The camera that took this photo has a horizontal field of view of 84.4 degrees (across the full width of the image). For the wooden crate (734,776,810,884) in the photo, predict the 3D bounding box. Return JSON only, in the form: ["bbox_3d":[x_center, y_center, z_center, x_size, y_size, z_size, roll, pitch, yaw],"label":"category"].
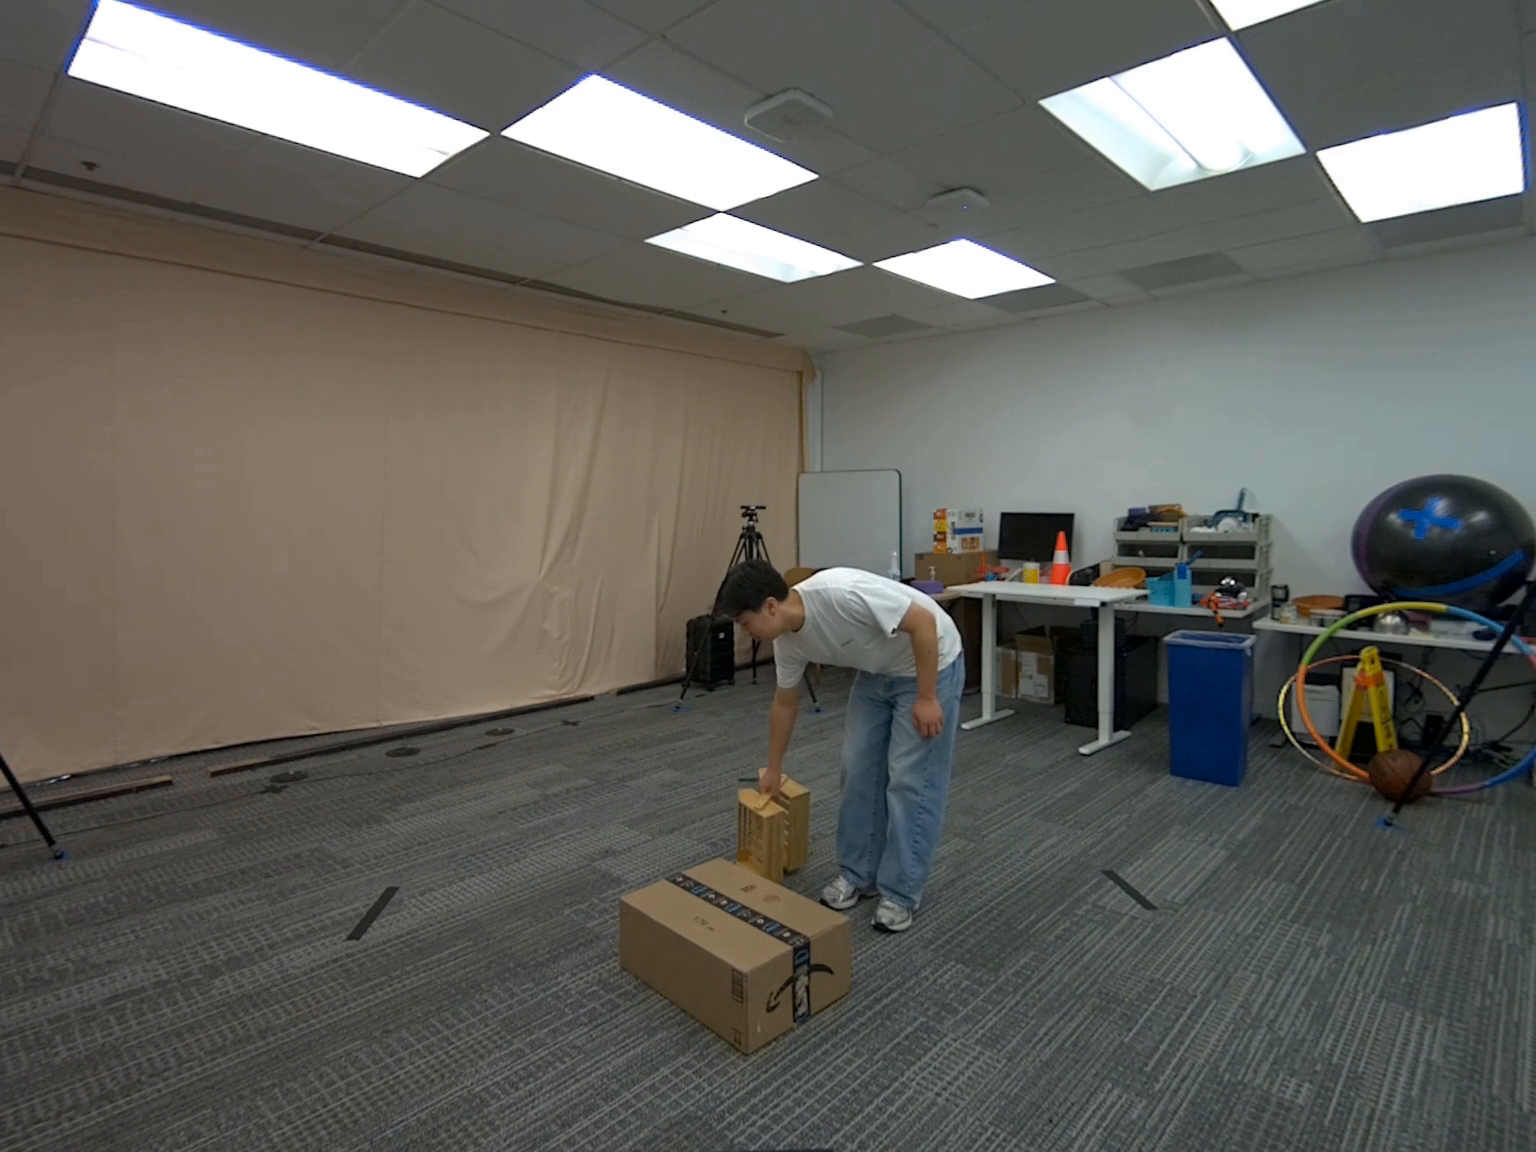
[{"bbox_3d":[-0.010,0.935,3.156,0.265,0.322,0.313,-8,16,-38],"label":"wooden crate"}]
